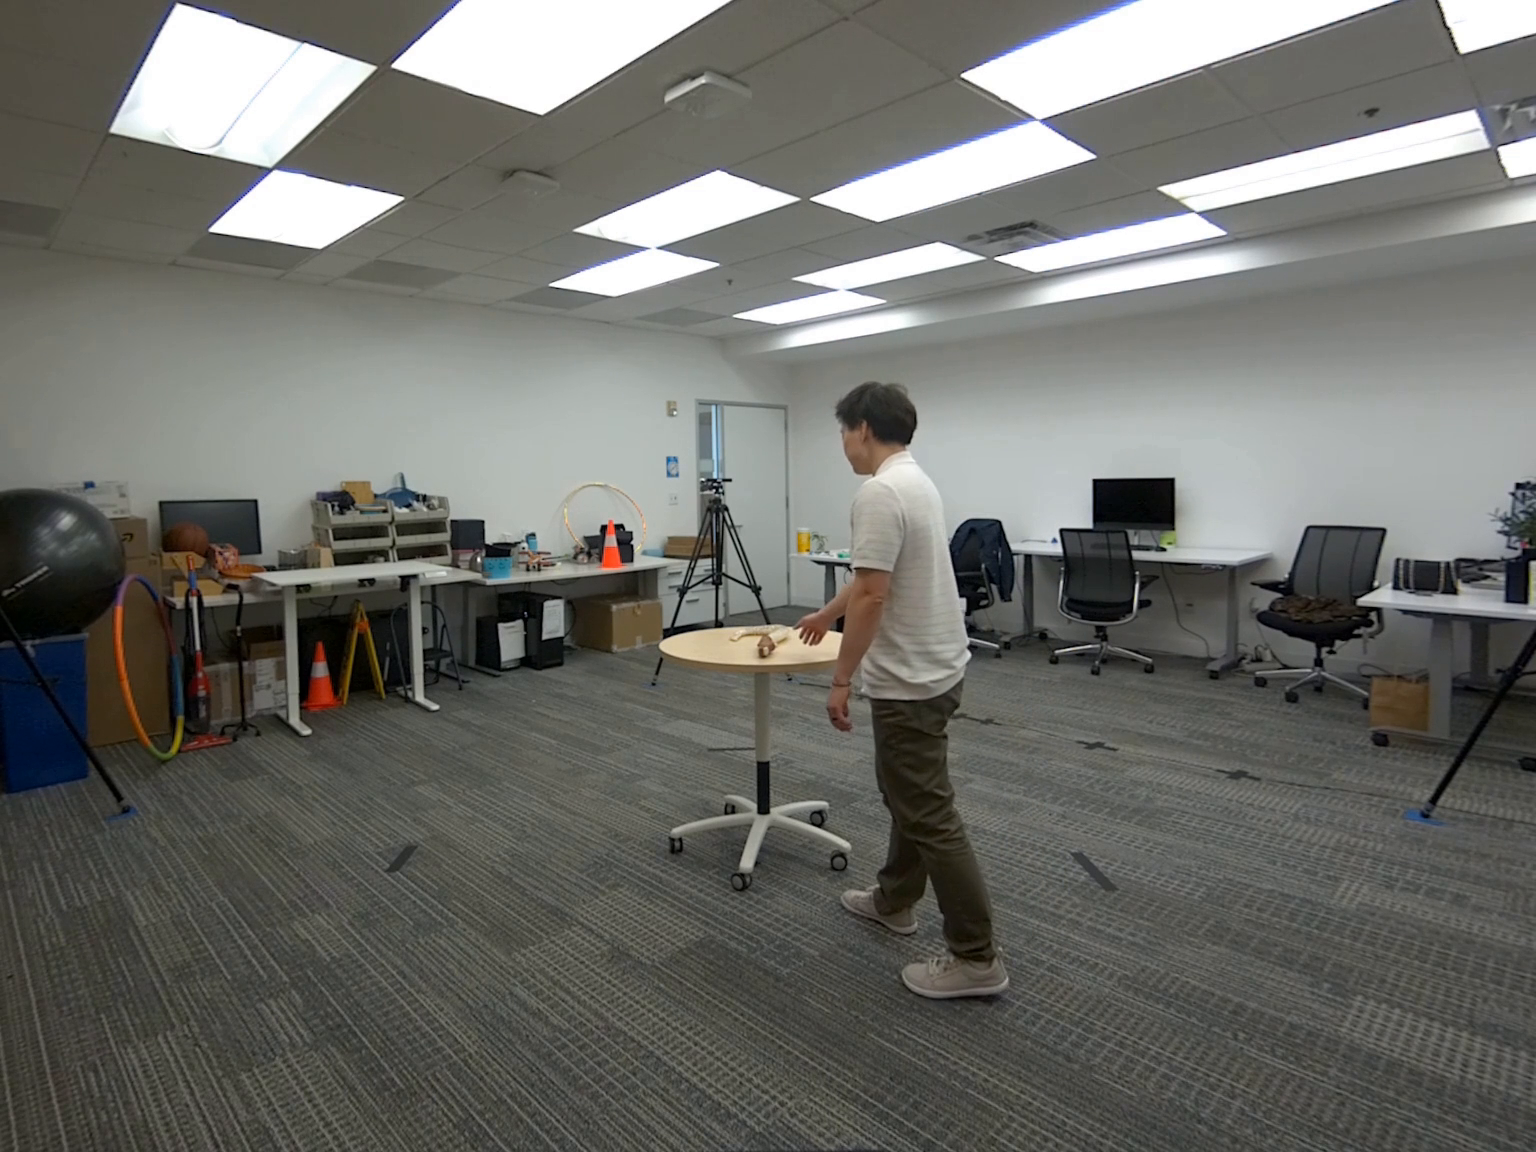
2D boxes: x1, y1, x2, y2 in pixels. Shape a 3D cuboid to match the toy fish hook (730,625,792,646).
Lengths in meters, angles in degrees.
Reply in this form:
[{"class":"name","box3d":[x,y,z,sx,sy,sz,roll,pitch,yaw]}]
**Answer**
[{"class":"toy fish hook","box3d":[-0.045,0.240,3.152,0.226,0.048,0.505,-7,4,6]}]
